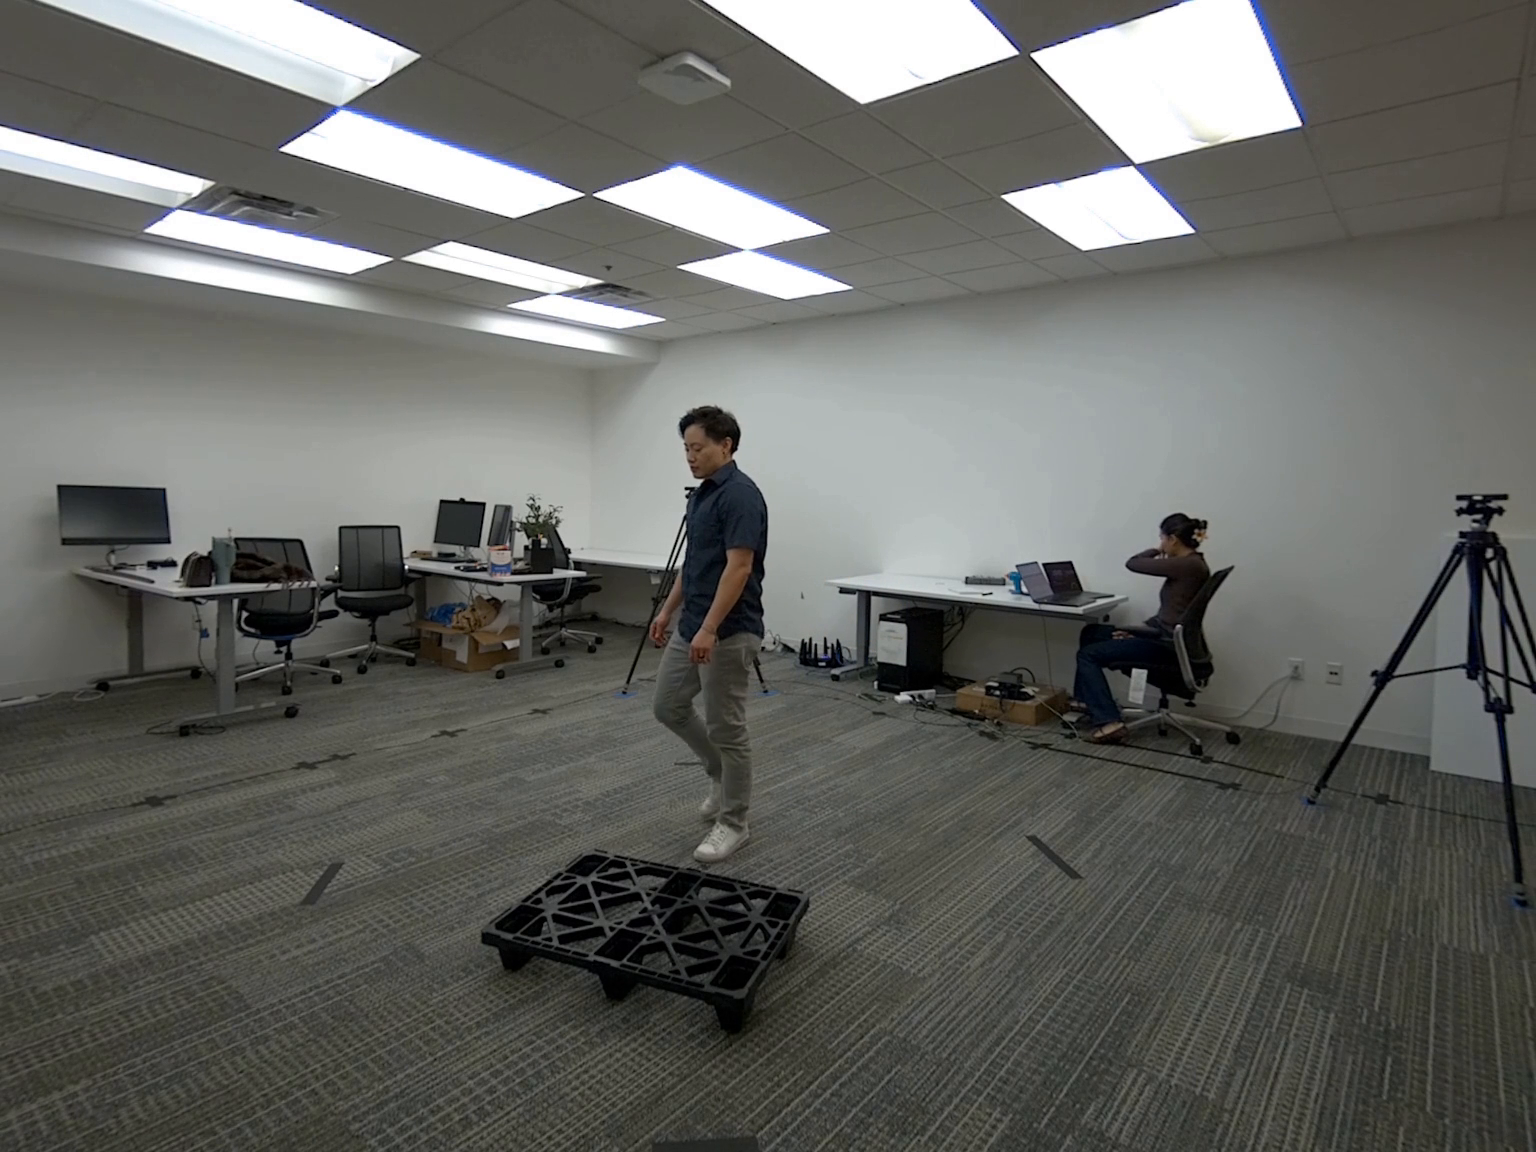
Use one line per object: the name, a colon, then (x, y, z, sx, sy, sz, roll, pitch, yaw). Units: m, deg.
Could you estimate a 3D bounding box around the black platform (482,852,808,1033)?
black platform: (-0.352, 1.052, 2.529, 0.824, 0.143, 0.594, 3, 6, 21)
